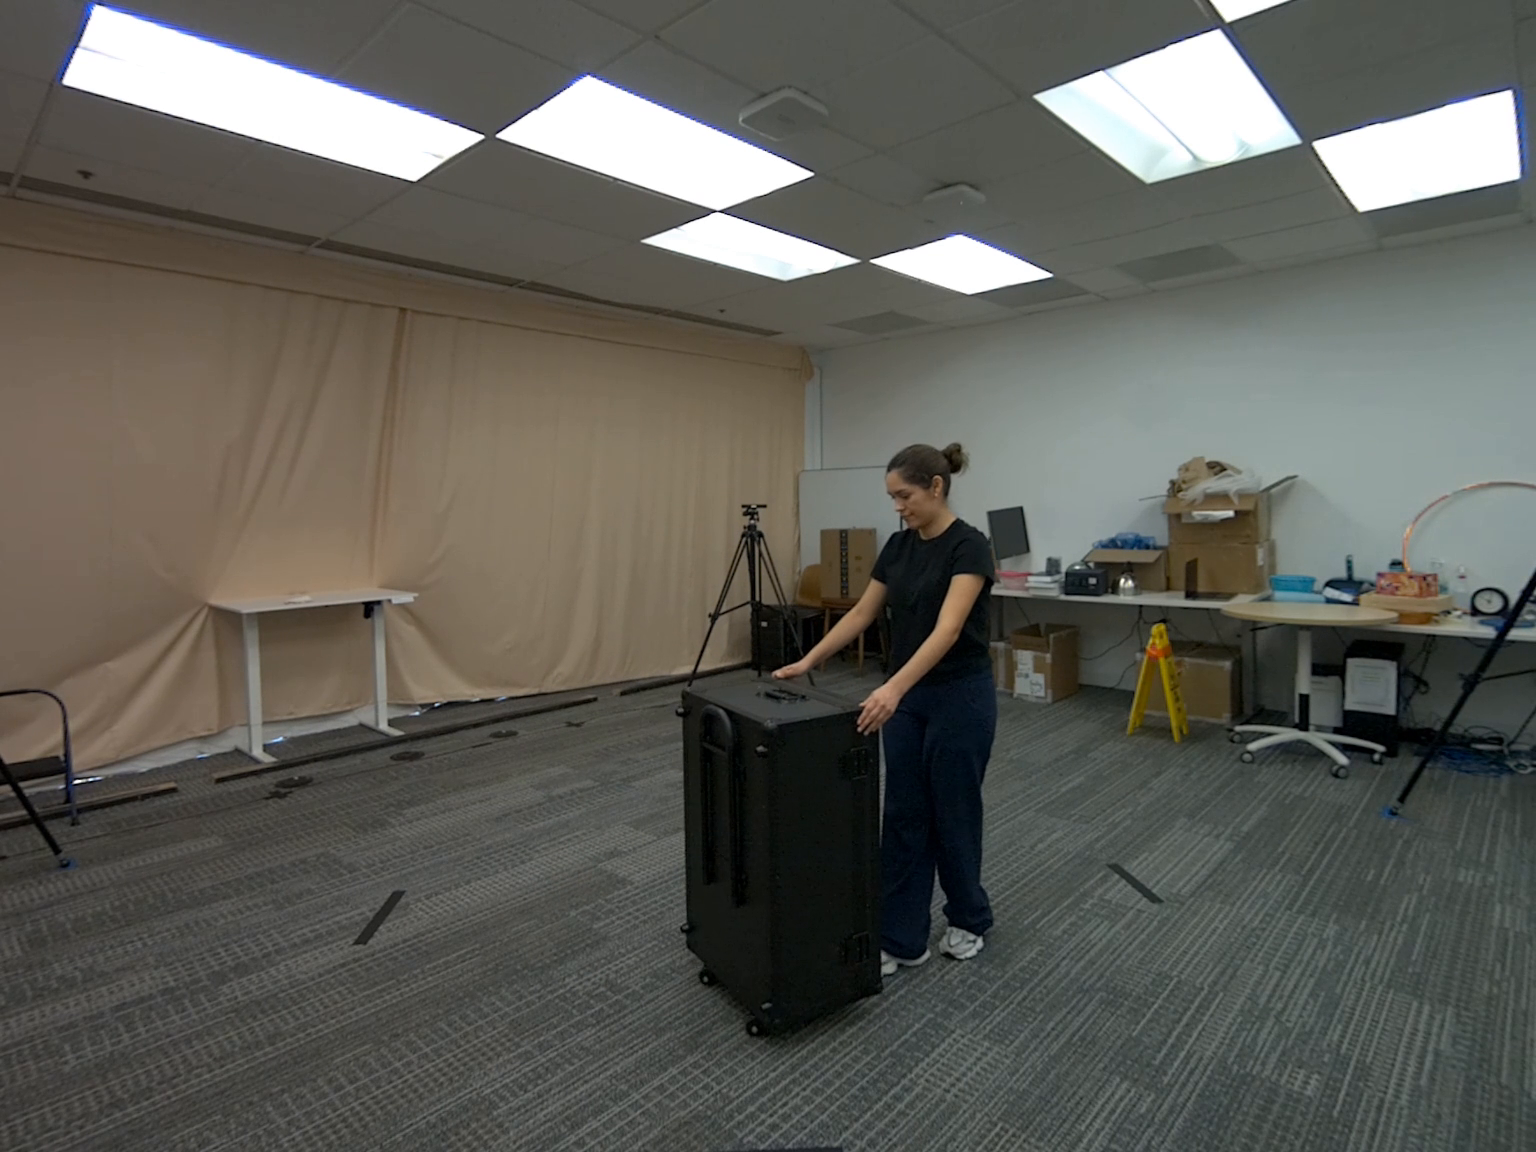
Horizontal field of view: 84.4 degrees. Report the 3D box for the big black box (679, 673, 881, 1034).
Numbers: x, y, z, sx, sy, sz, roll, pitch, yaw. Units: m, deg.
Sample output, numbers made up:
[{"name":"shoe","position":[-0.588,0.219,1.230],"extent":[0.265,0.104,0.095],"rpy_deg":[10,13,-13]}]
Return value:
[{"name":"big black box","position":[0.042,0.764,2.371],"extent":[0.386,0.859,0.536],"rpy_deg":[-3,4,-31]}]
